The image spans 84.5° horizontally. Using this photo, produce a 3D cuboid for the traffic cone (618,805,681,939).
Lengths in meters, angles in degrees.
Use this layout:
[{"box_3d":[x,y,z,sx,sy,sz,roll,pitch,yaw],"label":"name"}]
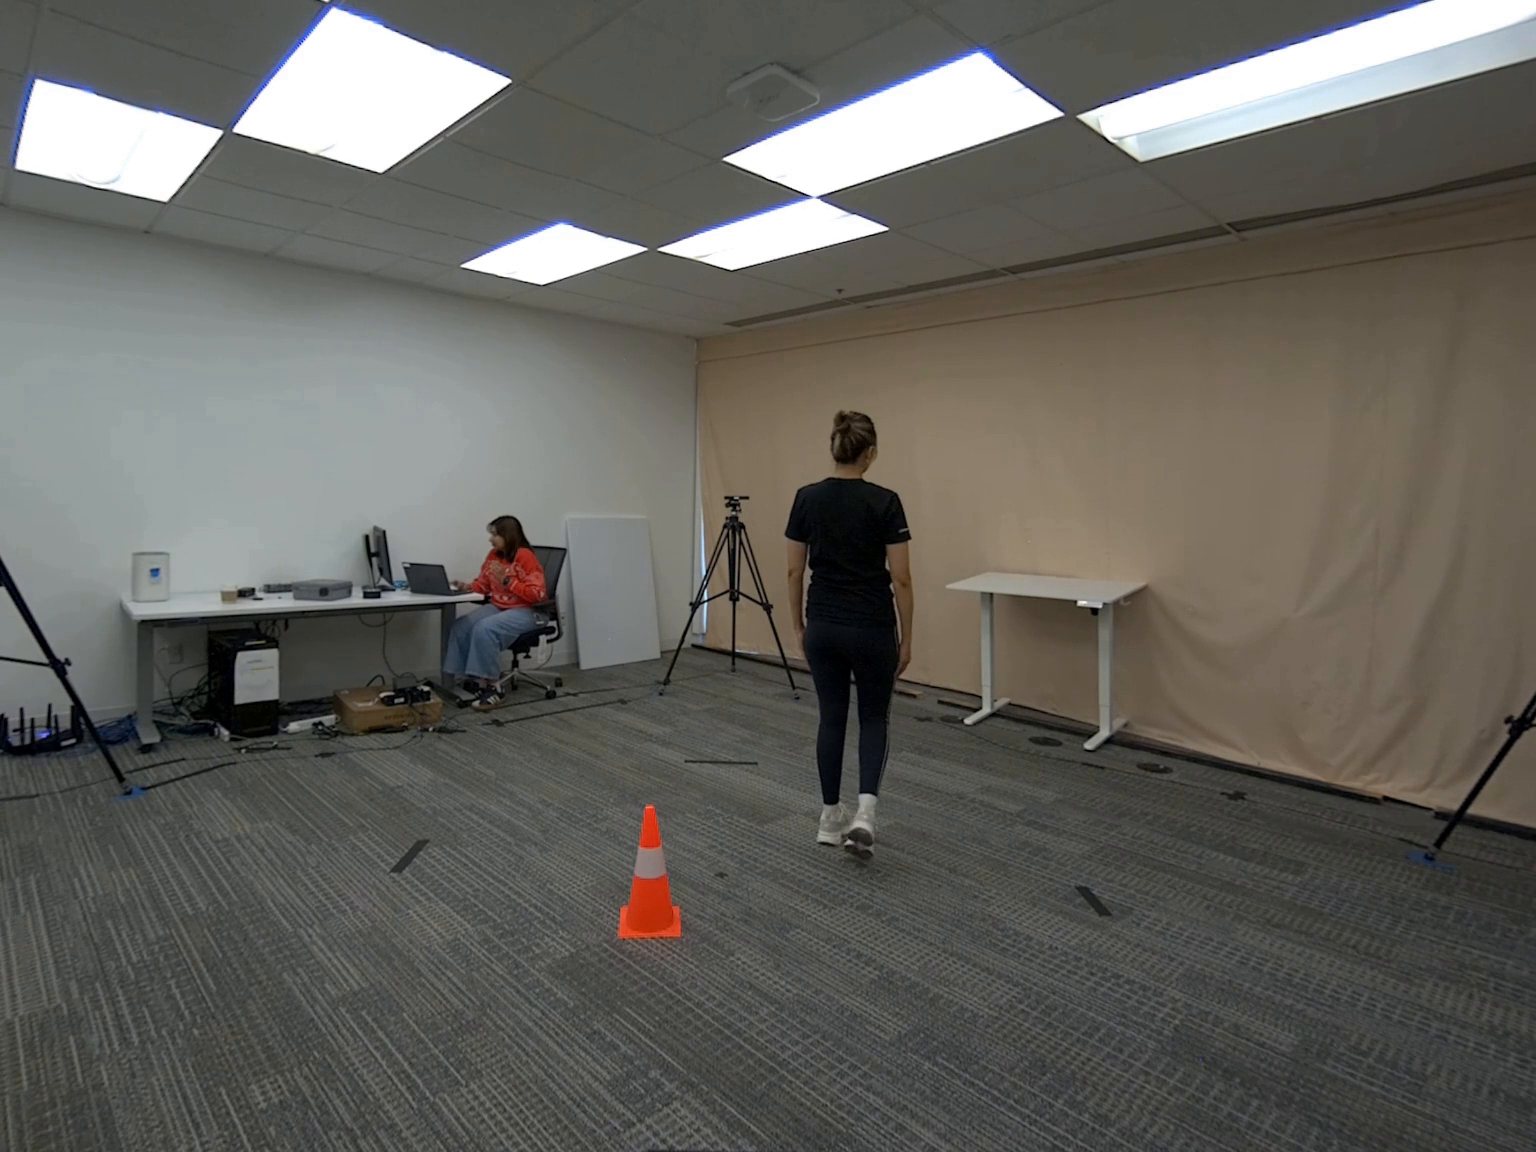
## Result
[{"box_3d":[-0.389,0.945,2.742,0.202,0.383,0.206,2,2,-5],"label":"traffic cone"}]
